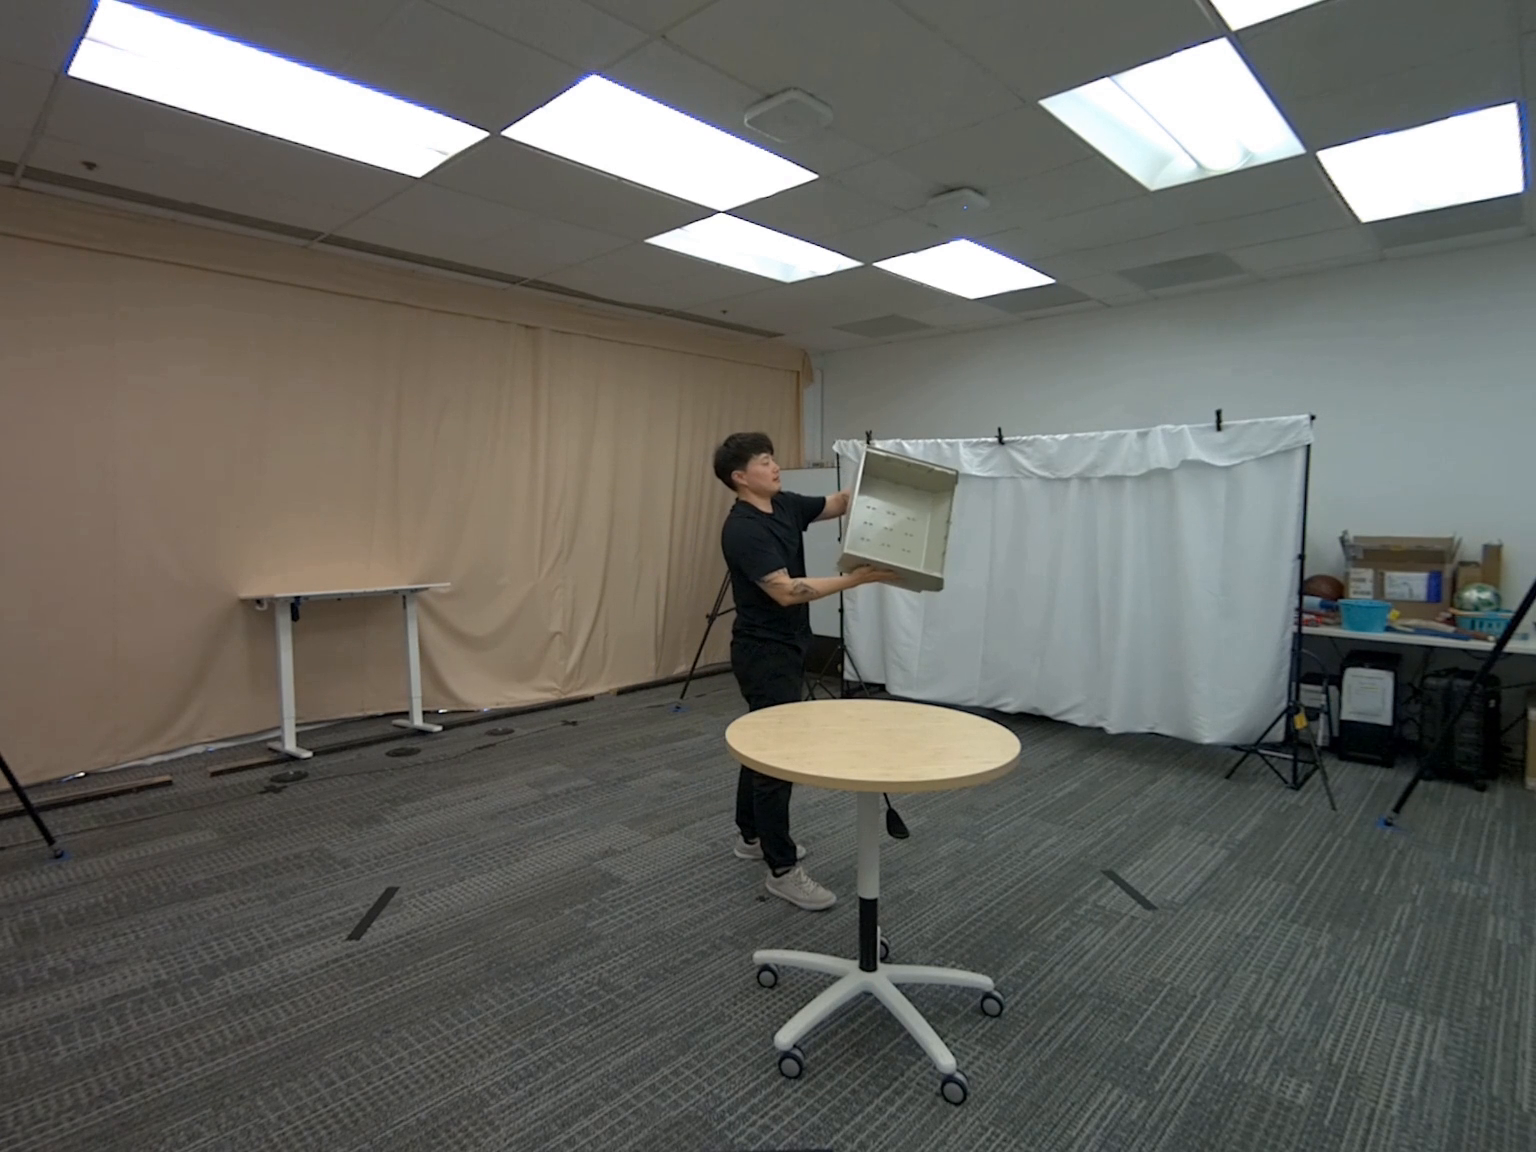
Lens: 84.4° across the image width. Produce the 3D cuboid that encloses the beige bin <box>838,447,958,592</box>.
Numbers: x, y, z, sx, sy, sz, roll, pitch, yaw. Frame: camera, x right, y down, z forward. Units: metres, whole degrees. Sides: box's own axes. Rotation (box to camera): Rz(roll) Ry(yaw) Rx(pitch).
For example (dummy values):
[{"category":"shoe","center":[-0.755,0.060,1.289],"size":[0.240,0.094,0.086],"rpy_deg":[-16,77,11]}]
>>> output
[{"category":"beige bin","center":[0.473,-0.192,2.932],"size":[0.378,0.425,0.187],"rpy_deg":[14,-22,0]}]
